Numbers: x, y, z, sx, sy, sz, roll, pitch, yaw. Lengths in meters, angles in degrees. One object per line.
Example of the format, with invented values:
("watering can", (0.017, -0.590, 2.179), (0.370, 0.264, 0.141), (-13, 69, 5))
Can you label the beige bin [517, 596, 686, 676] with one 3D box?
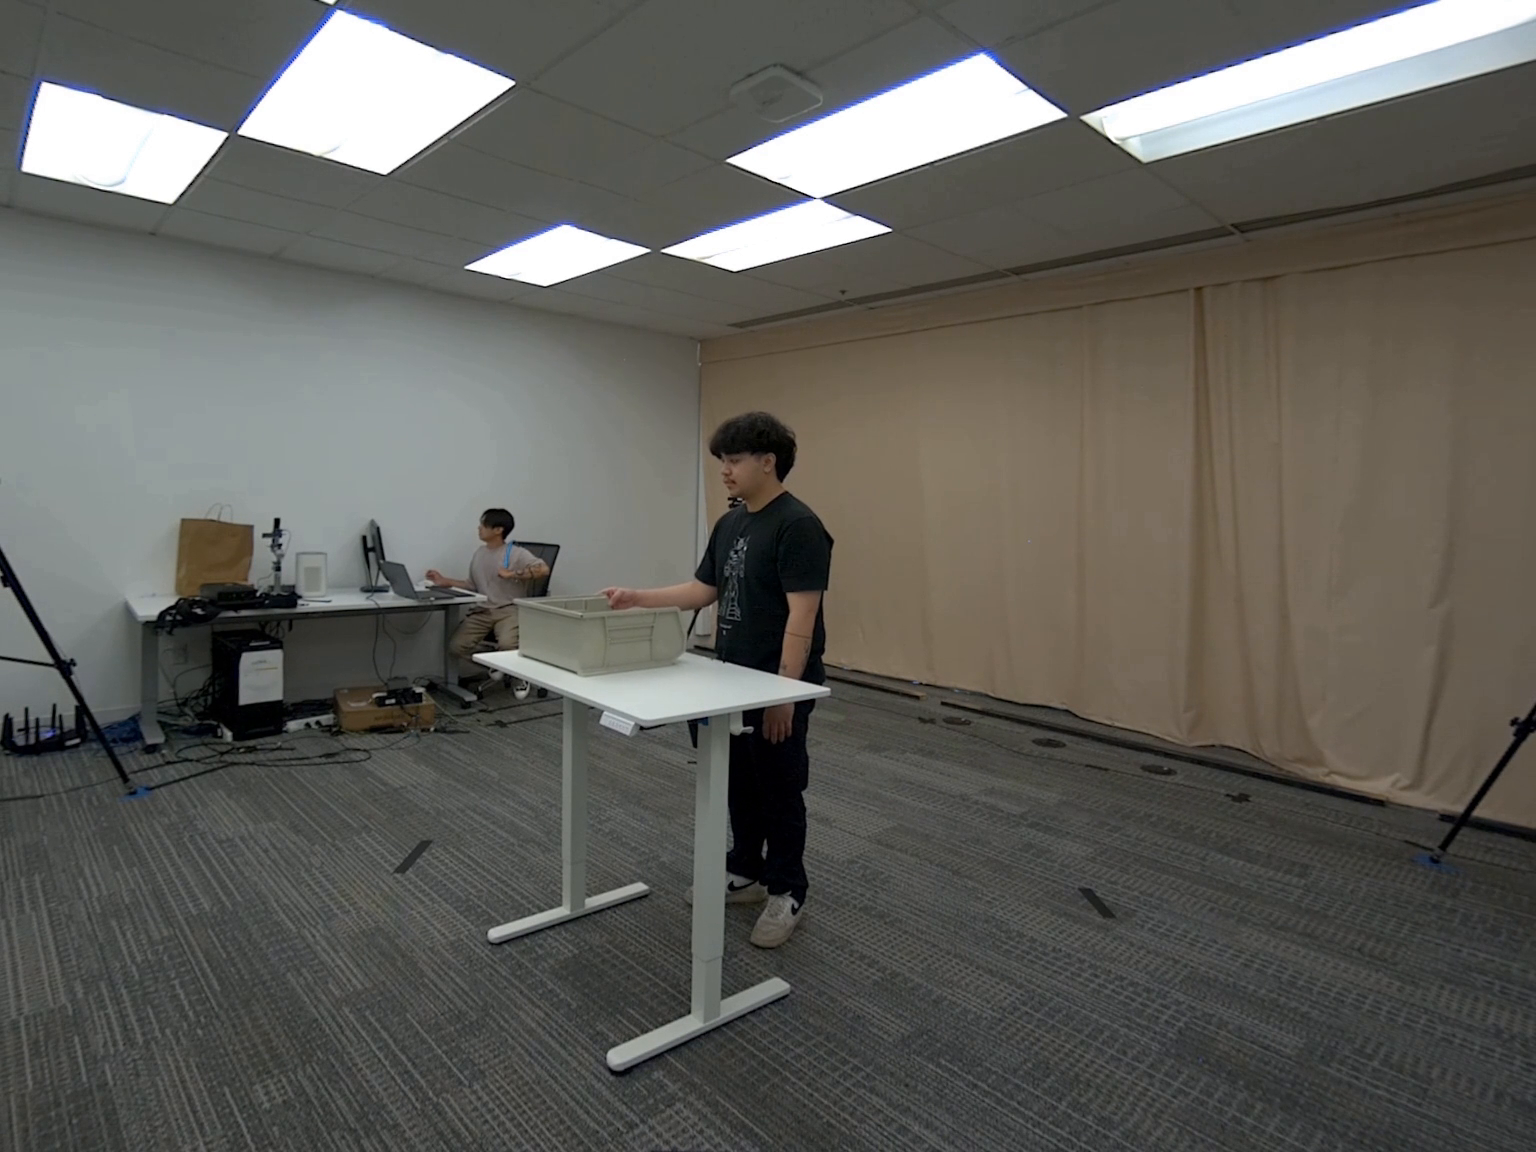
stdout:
("beige bin", (-0.528, 0.178, 2.624), (0.369, 0.188, 0.433), (-4, 7, -41))
